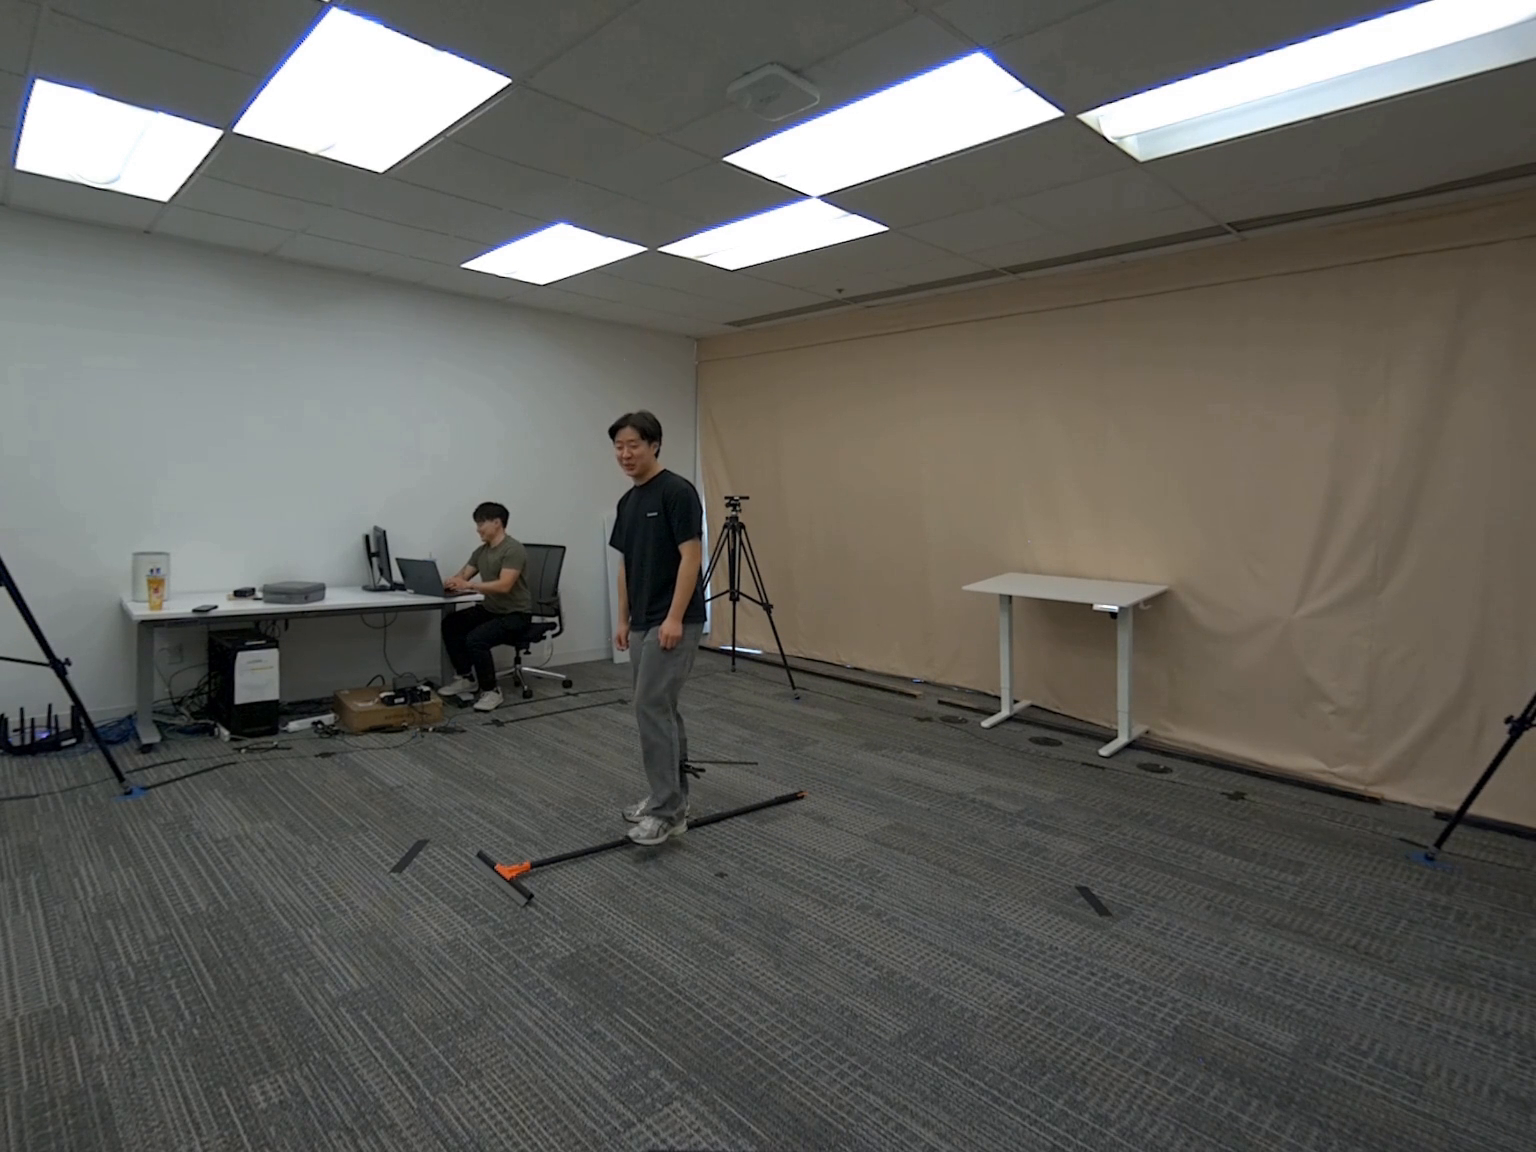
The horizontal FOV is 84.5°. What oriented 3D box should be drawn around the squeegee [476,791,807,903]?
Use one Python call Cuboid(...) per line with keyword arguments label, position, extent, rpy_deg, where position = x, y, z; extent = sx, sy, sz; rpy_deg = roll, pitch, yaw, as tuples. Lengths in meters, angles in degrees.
Cuboid(label="squeegee", position=(-0.405, 1.032, 3.472), extent=(1.502, 0.053, 0.449), rpy_deg=(-1, 7, -40))
